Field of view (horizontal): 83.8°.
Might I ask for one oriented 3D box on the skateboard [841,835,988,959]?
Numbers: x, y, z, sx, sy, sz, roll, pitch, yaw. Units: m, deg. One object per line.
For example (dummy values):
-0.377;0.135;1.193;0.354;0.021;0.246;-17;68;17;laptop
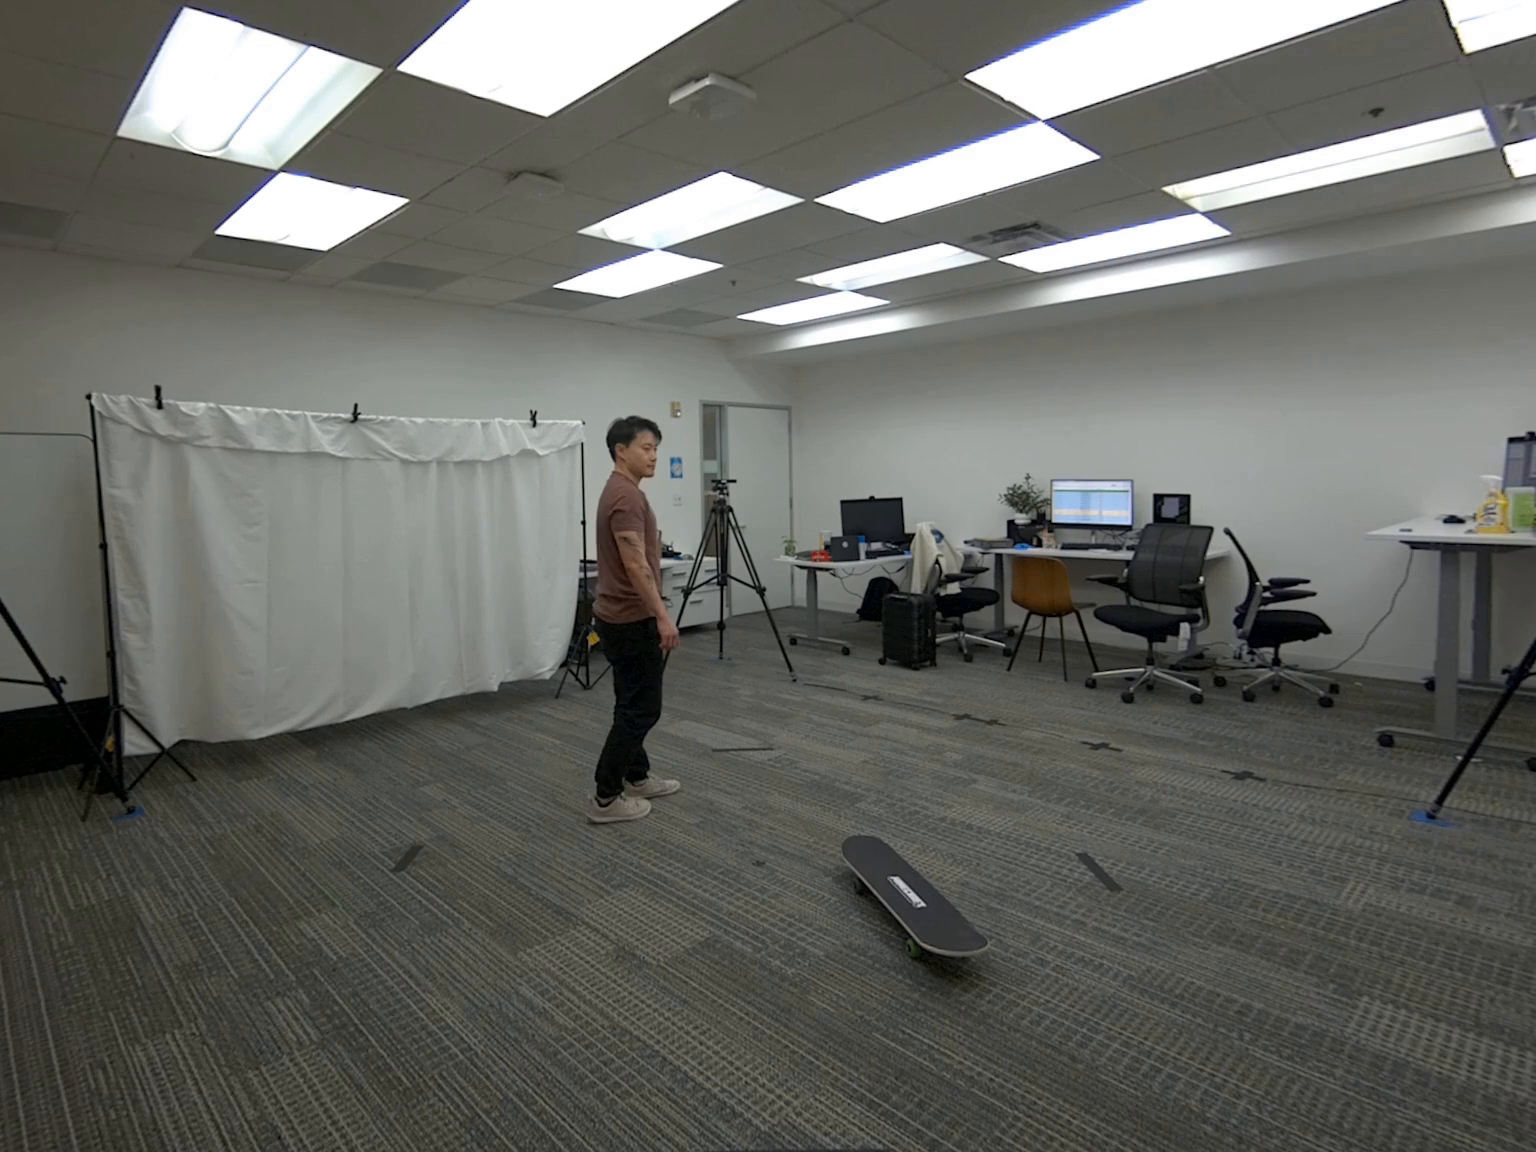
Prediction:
0.447;1.032;2.695;0.191;0.110;0.799;-3;7;-16;skateboard
